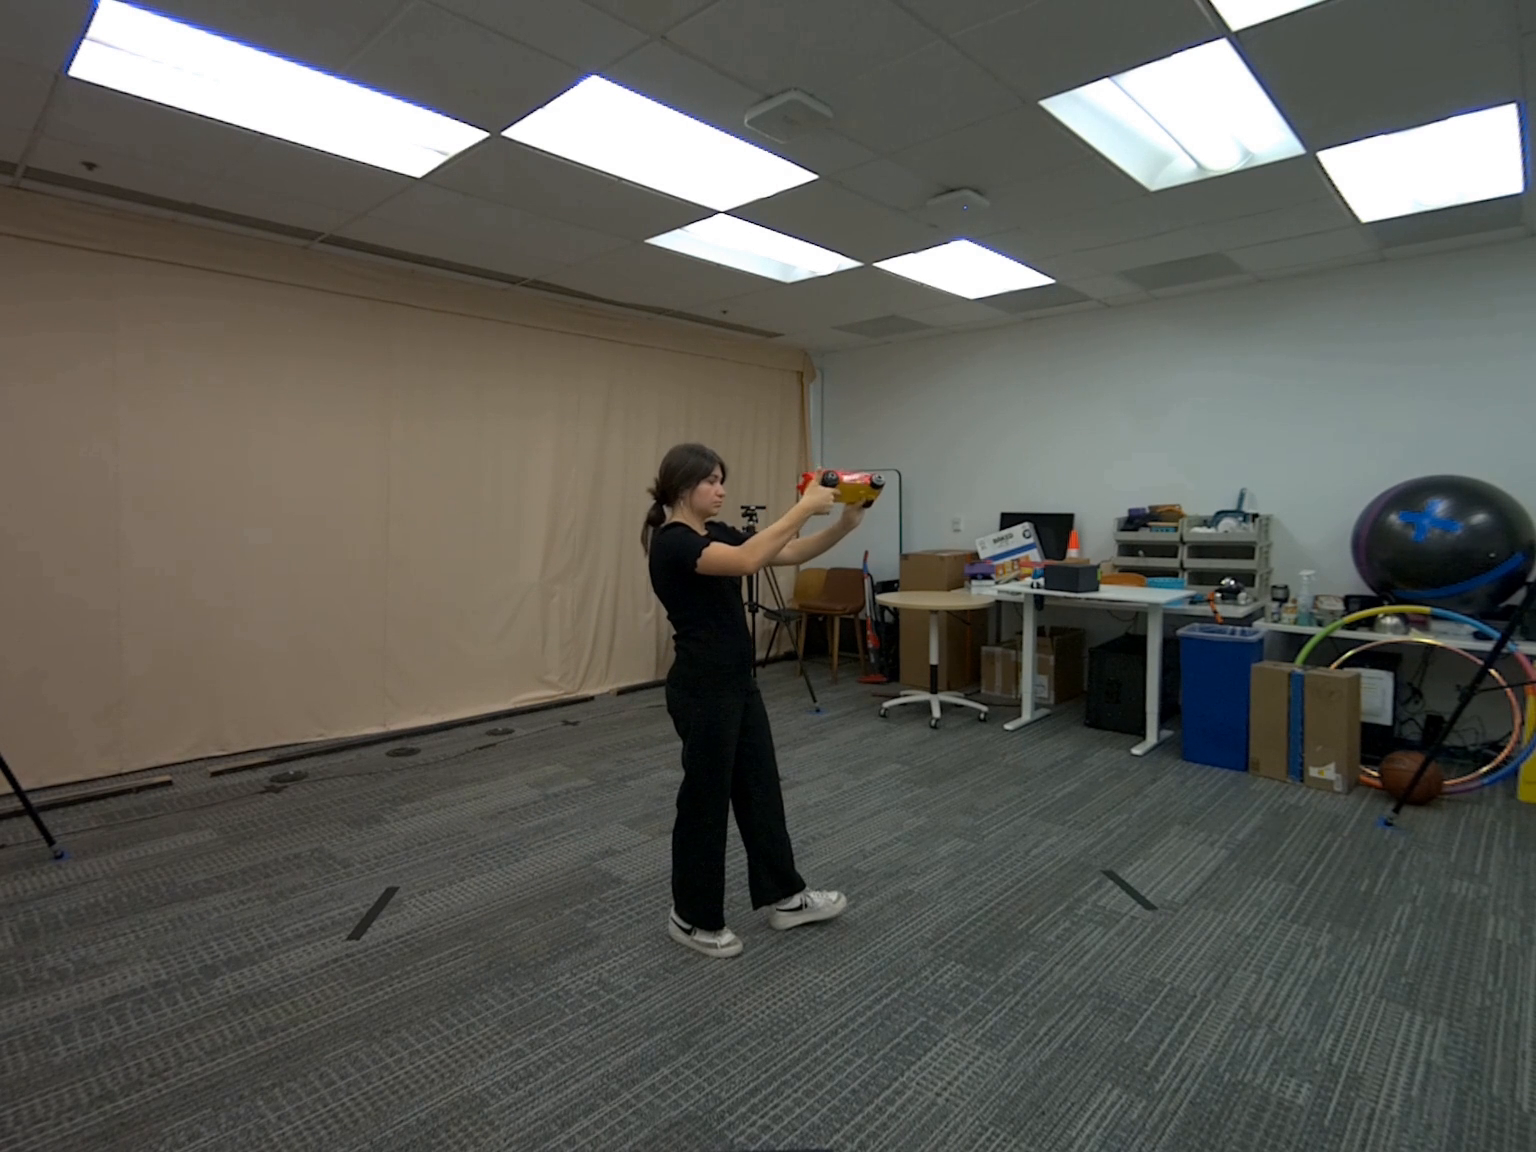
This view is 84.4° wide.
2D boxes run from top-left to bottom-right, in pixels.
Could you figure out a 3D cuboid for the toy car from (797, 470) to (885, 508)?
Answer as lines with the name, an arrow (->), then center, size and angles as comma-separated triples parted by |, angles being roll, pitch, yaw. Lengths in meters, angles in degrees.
toy car -> 0.217, -0.254, 2.448 | 0.253, 0.084, 0.129 | 9, -36, -6
